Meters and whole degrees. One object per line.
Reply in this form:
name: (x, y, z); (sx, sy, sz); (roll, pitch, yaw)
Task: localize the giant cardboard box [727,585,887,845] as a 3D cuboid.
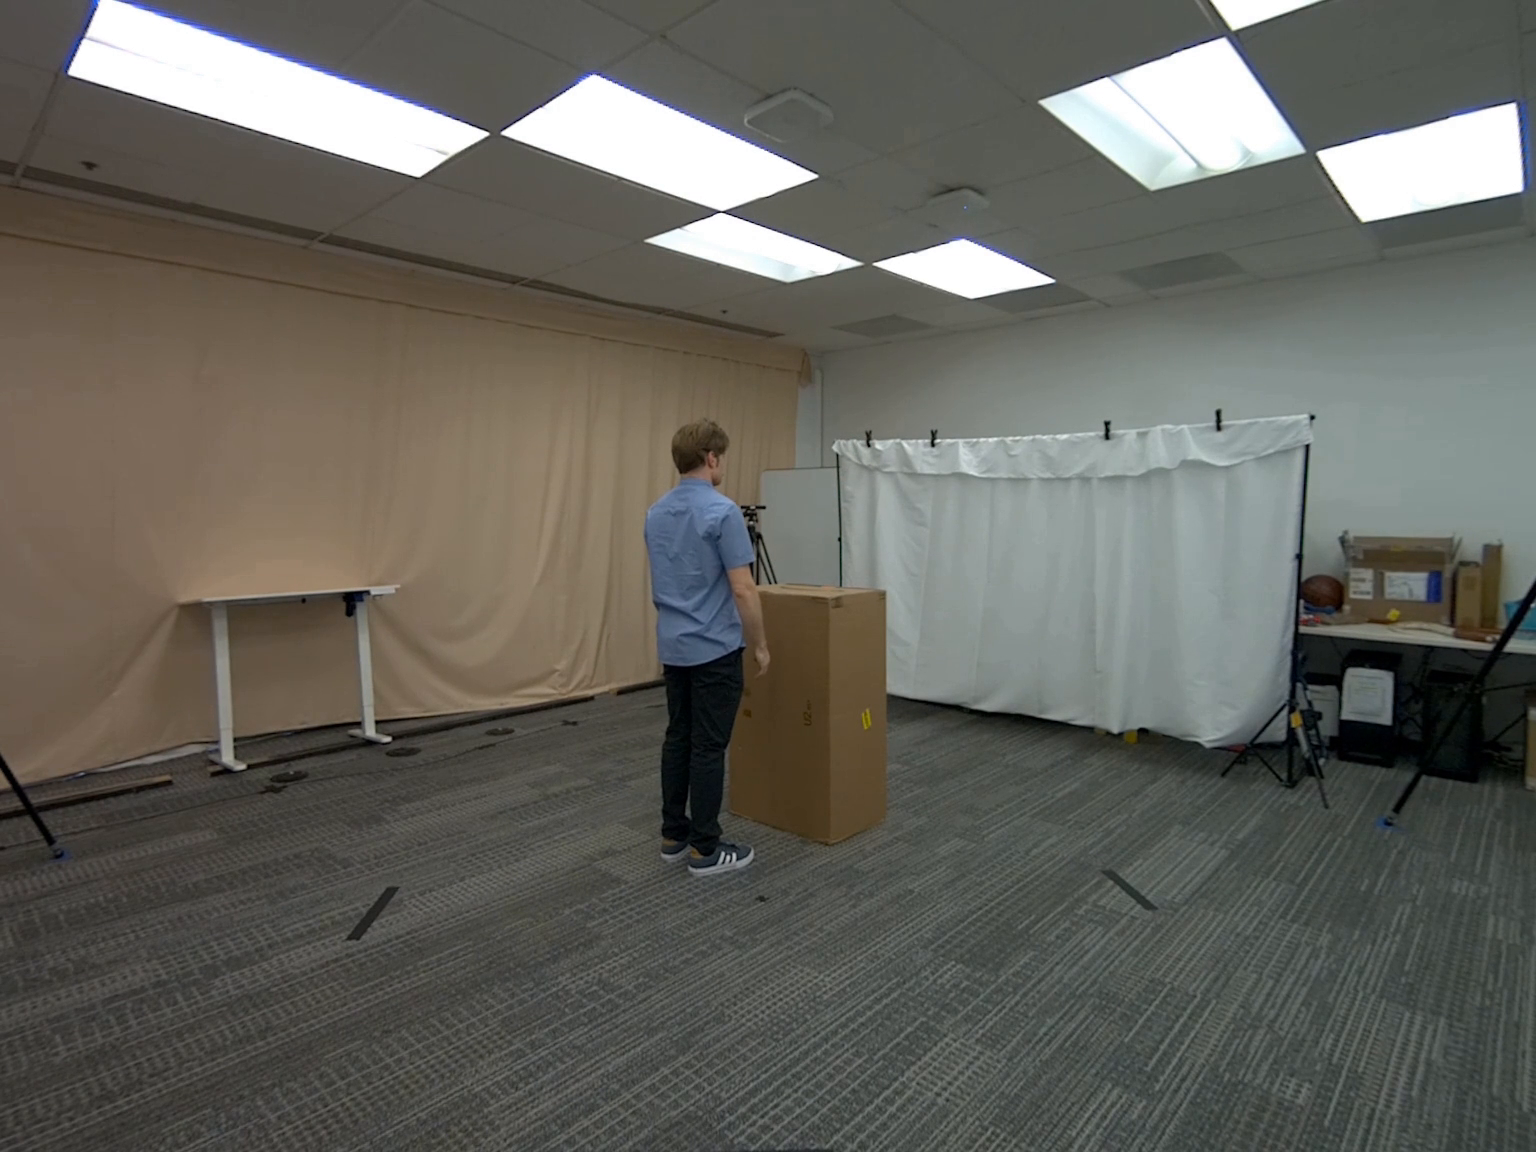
giant cardboard box: (0.174, 0.570, 3.774); (0.596, 1.024, 0.413); (2, 3, 42)
